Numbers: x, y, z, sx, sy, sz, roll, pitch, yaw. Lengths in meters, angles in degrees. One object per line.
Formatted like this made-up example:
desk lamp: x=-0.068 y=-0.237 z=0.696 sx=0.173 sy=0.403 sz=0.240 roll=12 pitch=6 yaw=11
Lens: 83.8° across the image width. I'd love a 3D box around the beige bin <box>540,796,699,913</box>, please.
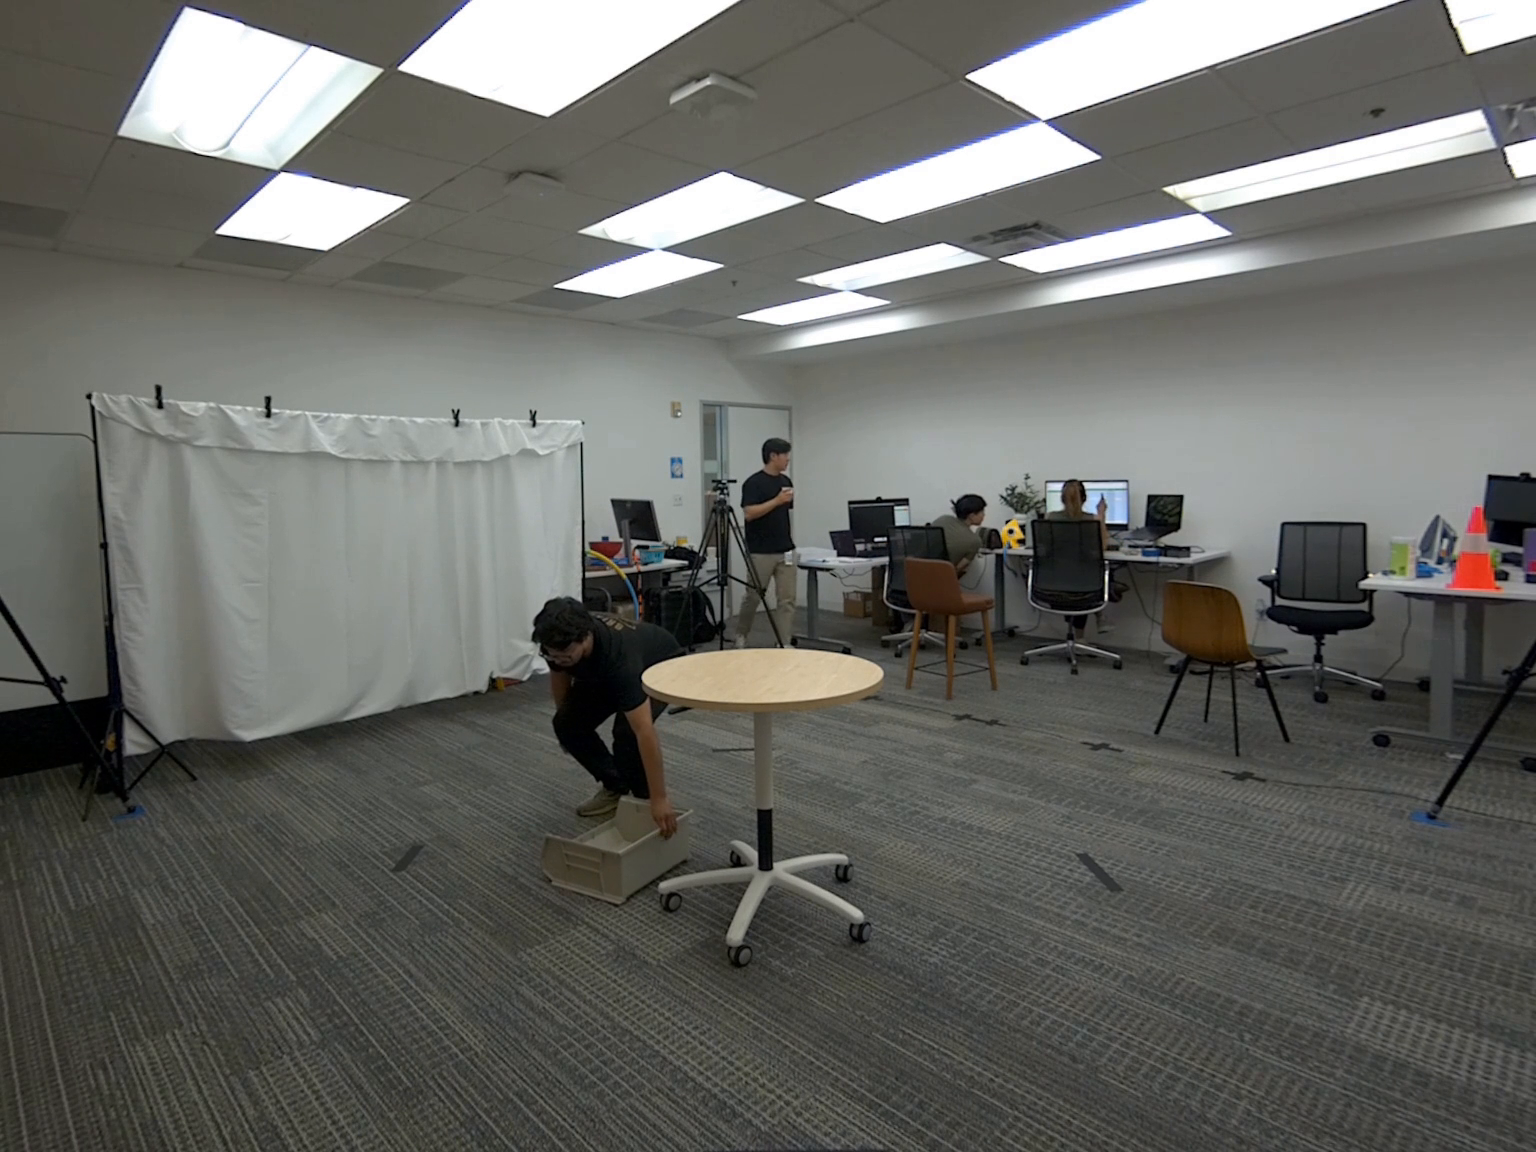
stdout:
beige bin: x=-0.525 y=0.973 z=3.067 sx=0.387 sy=0.188 sz=0.413 roll=3 pitch=7 yaw=30
